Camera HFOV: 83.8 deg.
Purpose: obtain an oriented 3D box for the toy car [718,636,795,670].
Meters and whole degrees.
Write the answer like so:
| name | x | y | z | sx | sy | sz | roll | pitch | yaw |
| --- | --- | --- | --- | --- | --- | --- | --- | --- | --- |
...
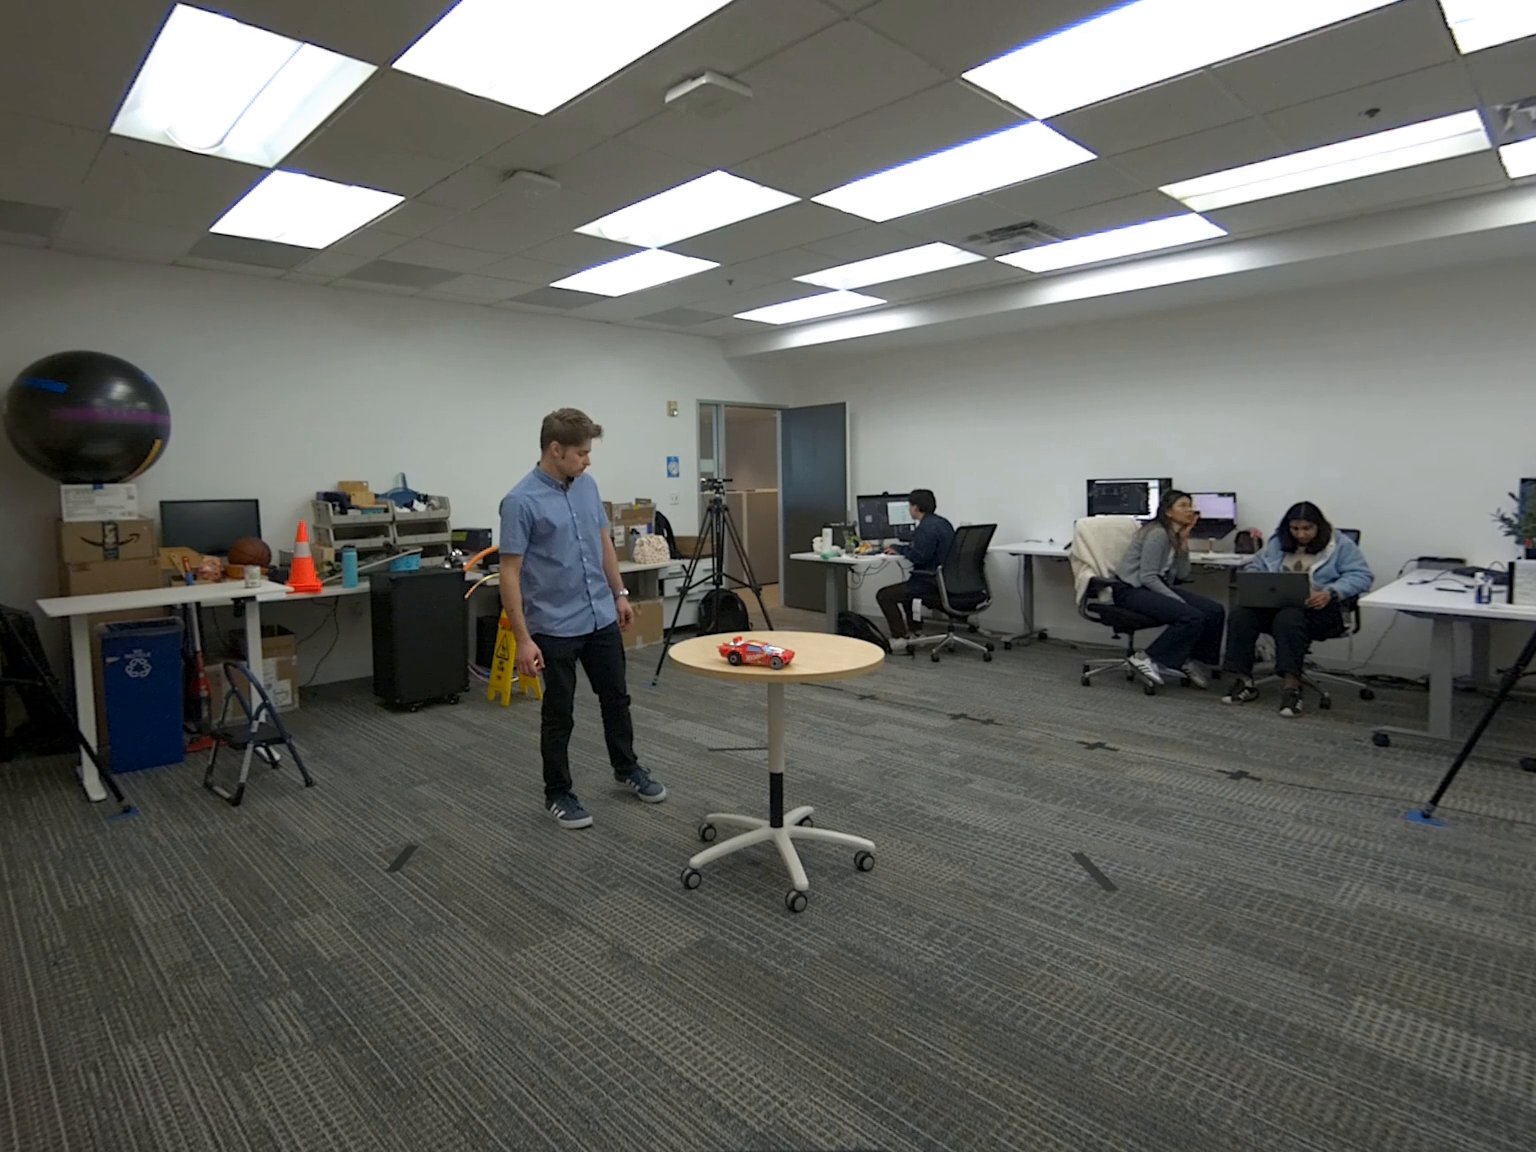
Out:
| name | x | y | z | sx | sy | sz | roll | pitch | yaw |
| --- | --- | --- | --- | --- | --- | --- | --- | --- | --- |
| toy car | -0.038 | 0.260 | 2.828 | 0.261 | 0.082 | 0.128 | 14 | 10 | 22 |
